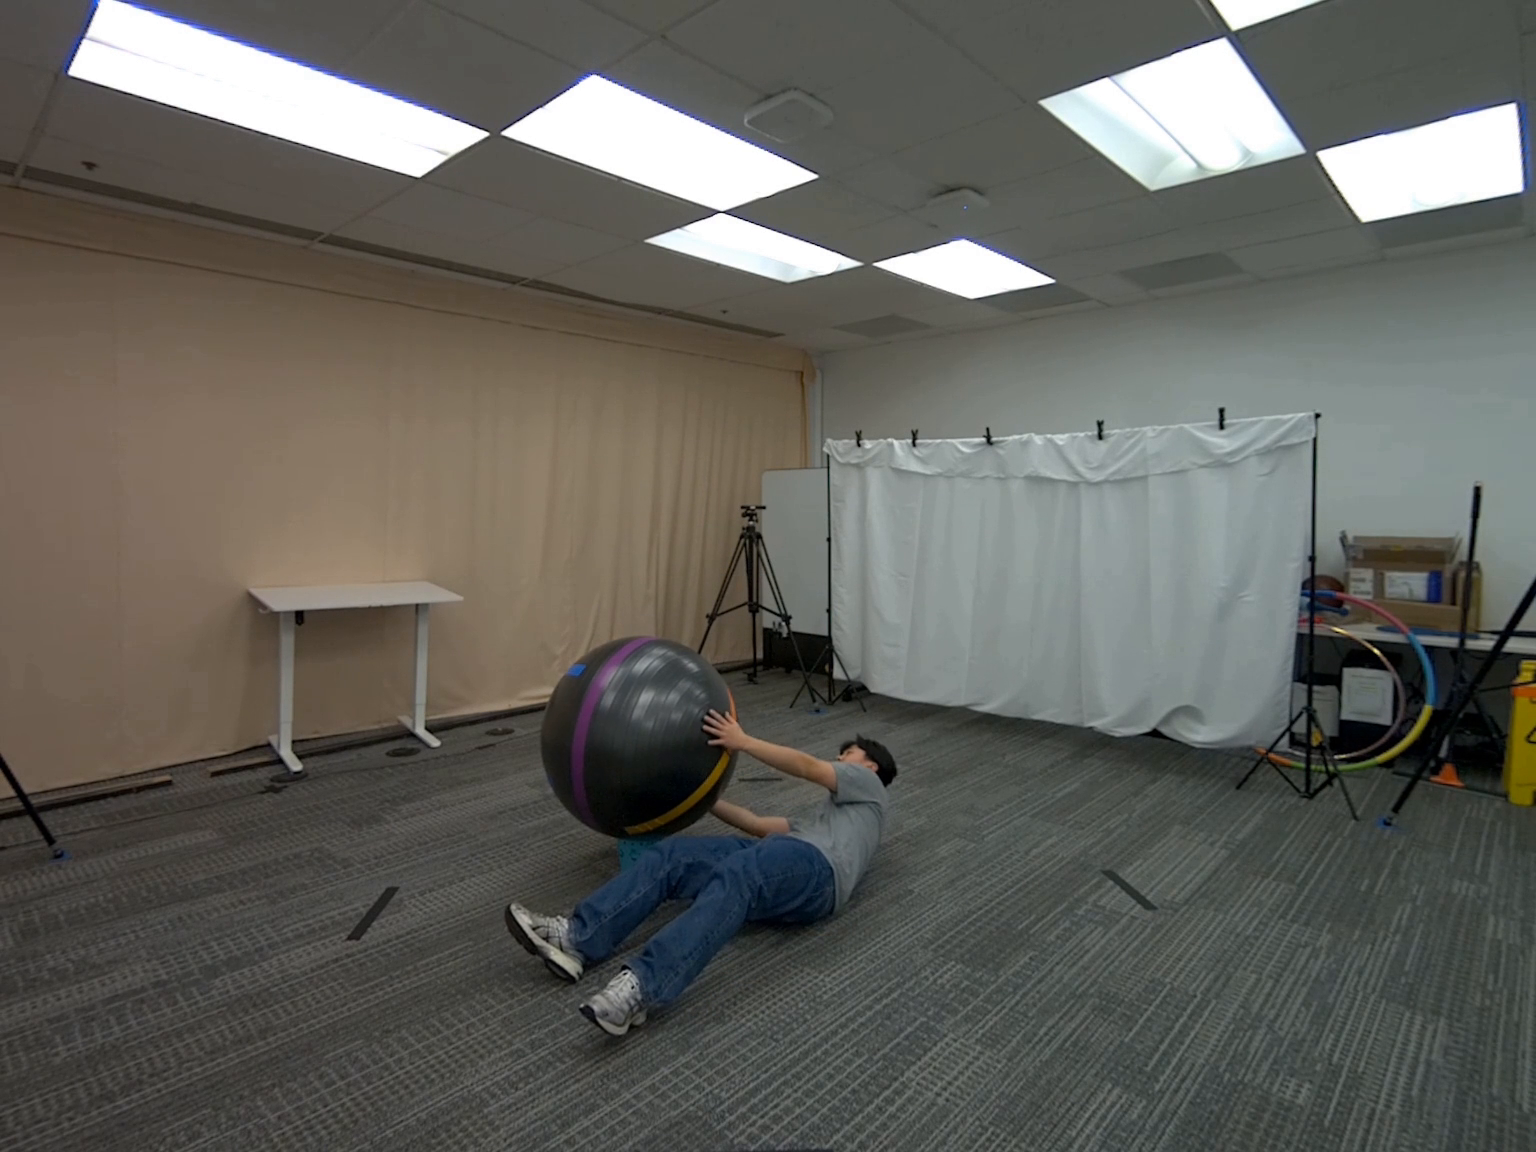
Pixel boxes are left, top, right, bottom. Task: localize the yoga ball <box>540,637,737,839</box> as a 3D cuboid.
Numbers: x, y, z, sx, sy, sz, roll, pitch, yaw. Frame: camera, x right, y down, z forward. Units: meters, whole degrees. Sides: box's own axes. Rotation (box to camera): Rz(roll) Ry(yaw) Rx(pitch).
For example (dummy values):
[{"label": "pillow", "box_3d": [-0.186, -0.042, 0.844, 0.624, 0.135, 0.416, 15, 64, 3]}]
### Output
[{"label": "yoga ball", "box_3d": [-0.487, 0.615, 3.228, 0.757, 0.756, 0.760, 0, 4, -2]}]
